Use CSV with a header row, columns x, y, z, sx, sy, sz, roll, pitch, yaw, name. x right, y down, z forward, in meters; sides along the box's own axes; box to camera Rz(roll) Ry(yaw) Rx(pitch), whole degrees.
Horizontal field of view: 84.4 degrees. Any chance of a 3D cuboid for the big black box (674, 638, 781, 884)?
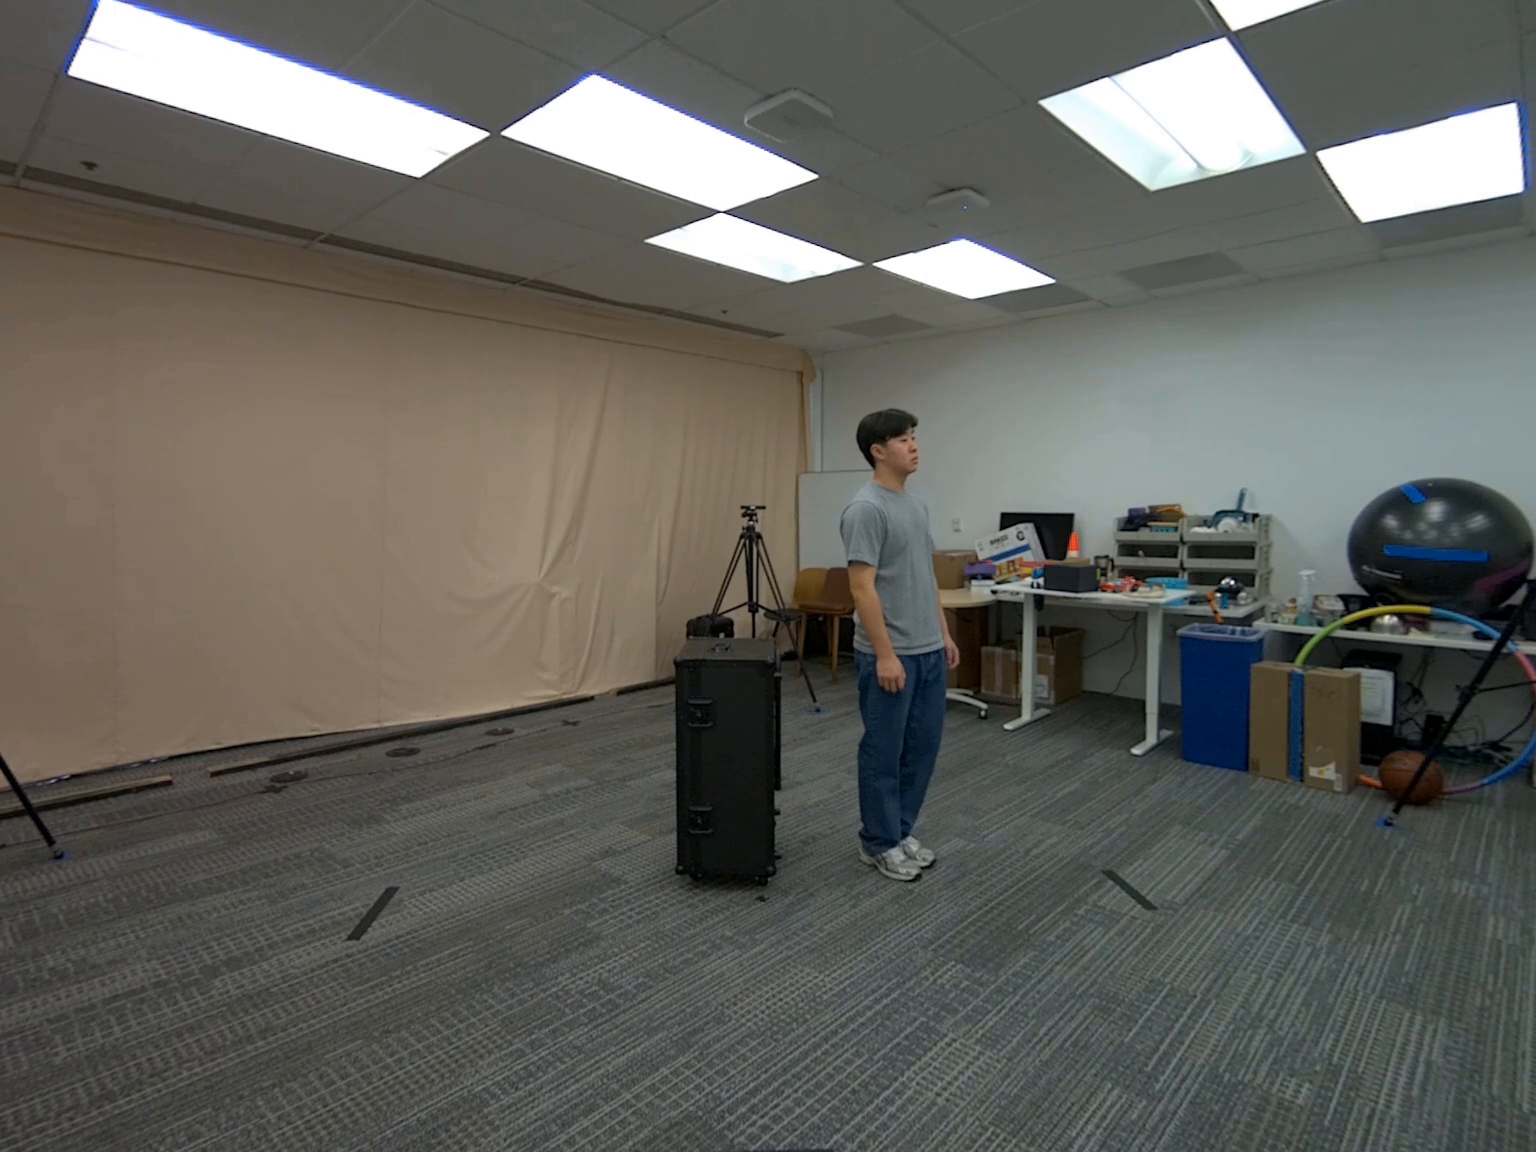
x,y,z,sx,sy,sz,roll,pitch,yaw,name
-0.141,0.699,3.238,0.398,0.860,0.520,1,3,2,big black box
